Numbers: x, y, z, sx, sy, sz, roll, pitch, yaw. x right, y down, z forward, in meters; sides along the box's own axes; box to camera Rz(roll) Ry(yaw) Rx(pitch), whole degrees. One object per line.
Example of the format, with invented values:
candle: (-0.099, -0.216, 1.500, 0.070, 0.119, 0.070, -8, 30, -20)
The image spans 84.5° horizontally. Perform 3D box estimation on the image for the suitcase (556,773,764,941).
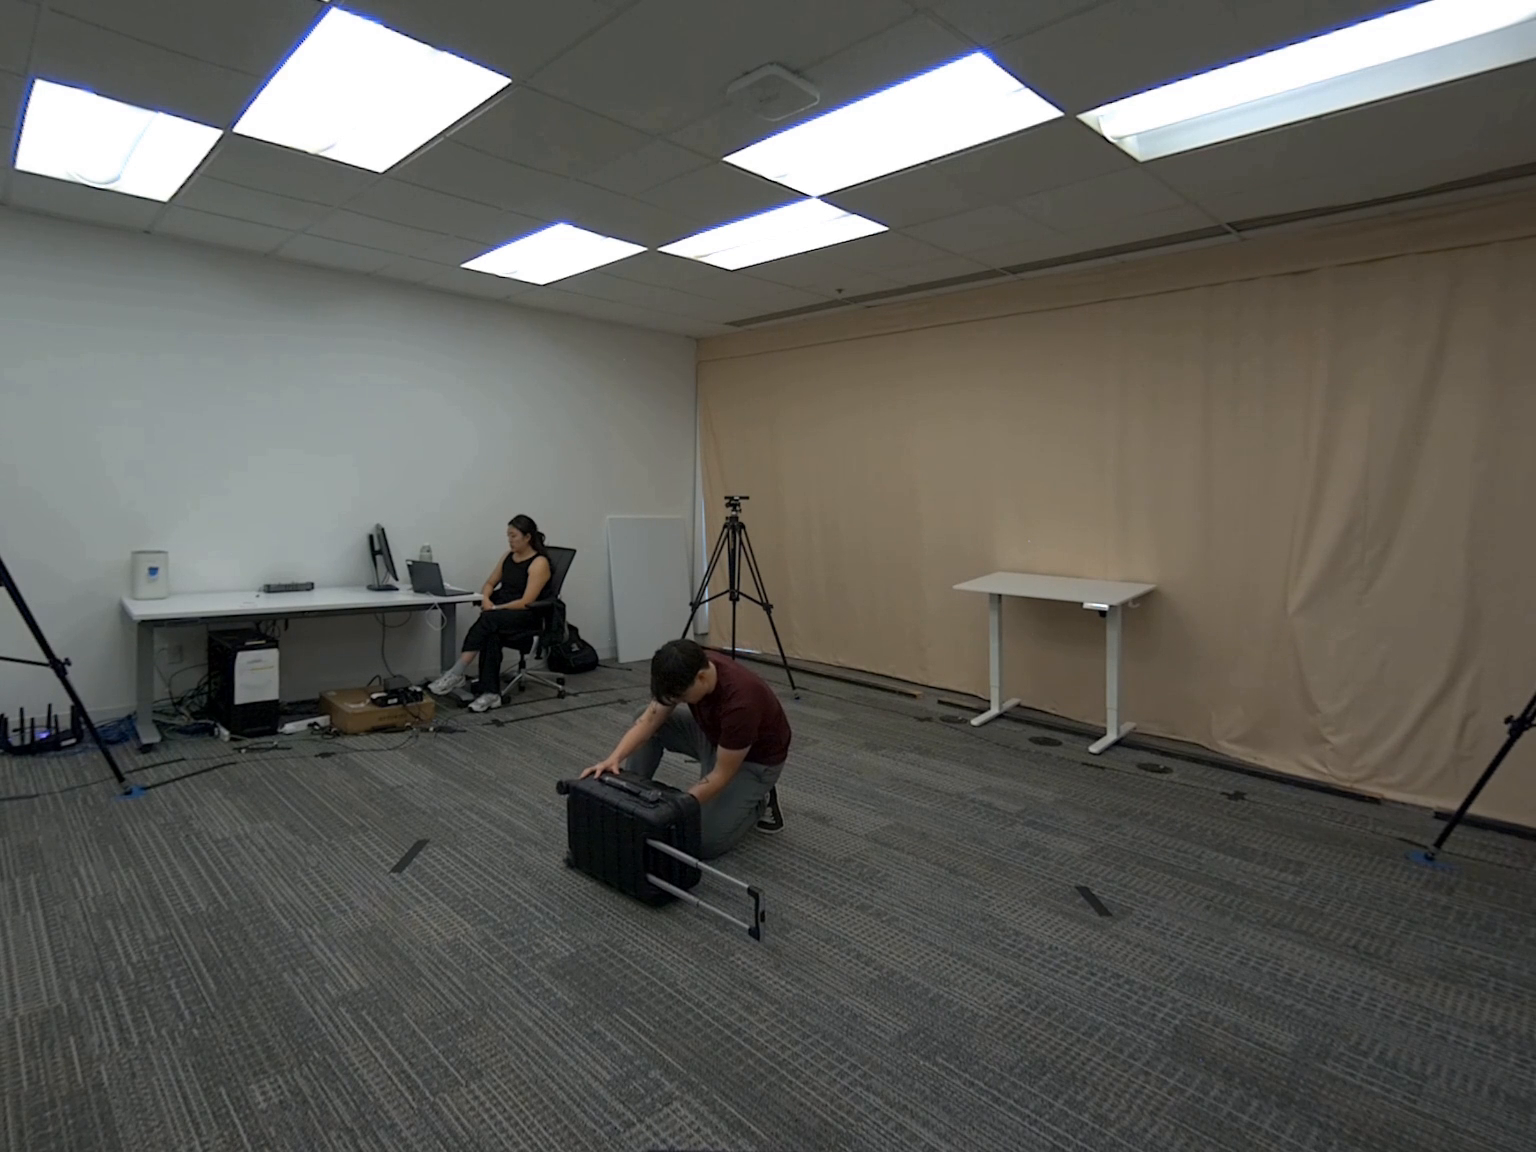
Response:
suitcase: (-0.339, 0.937, 2.874, 1.004, 0.382, 0.252, 6, 10, 40)
